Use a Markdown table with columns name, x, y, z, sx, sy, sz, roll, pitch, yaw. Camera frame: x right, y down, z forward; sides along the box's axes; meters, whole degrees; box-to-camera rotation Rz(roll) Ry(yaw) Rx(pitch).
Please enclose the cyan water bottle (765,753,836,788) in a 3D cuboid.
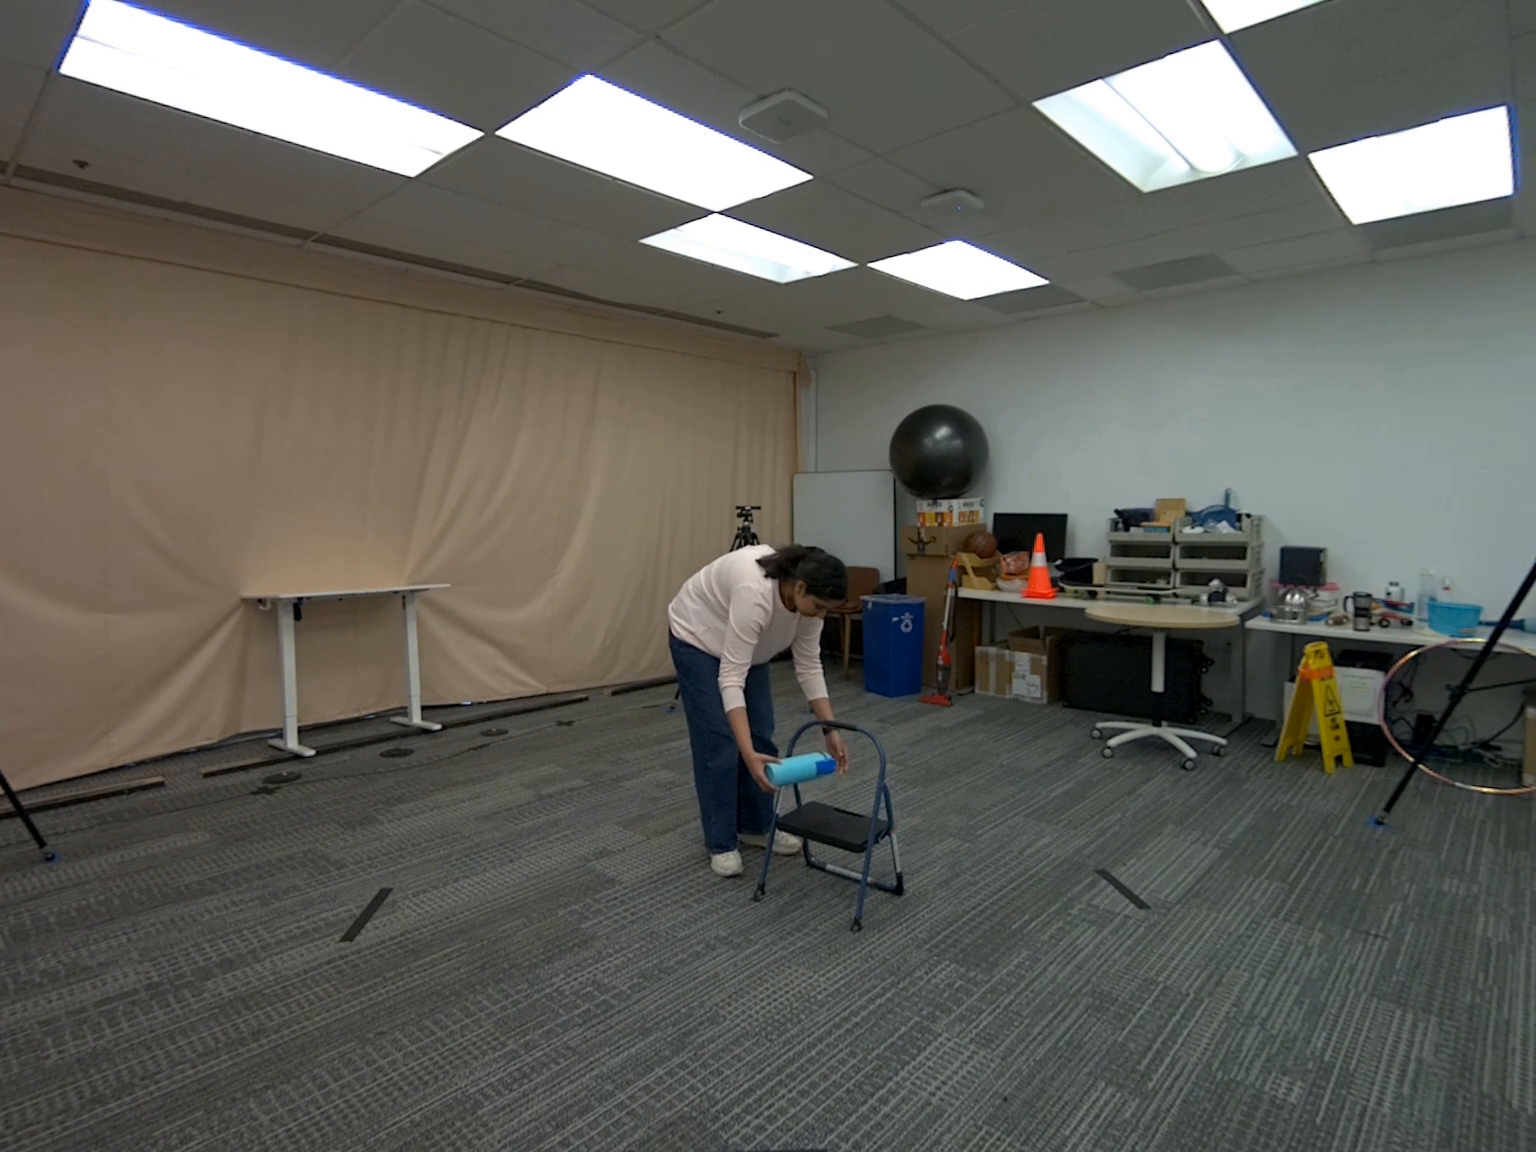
| name | x | y | z | sx | sy | sz | roll | pitch | yaw |
| --- | --- | --- | --- | --- | --- | --- | --- | --- | --- |
| cyan water bottle | 0.126 | 0.668 | 2.929 | 0.275 | 0.092 | 0.095 | -4 | 5 | -33 |
